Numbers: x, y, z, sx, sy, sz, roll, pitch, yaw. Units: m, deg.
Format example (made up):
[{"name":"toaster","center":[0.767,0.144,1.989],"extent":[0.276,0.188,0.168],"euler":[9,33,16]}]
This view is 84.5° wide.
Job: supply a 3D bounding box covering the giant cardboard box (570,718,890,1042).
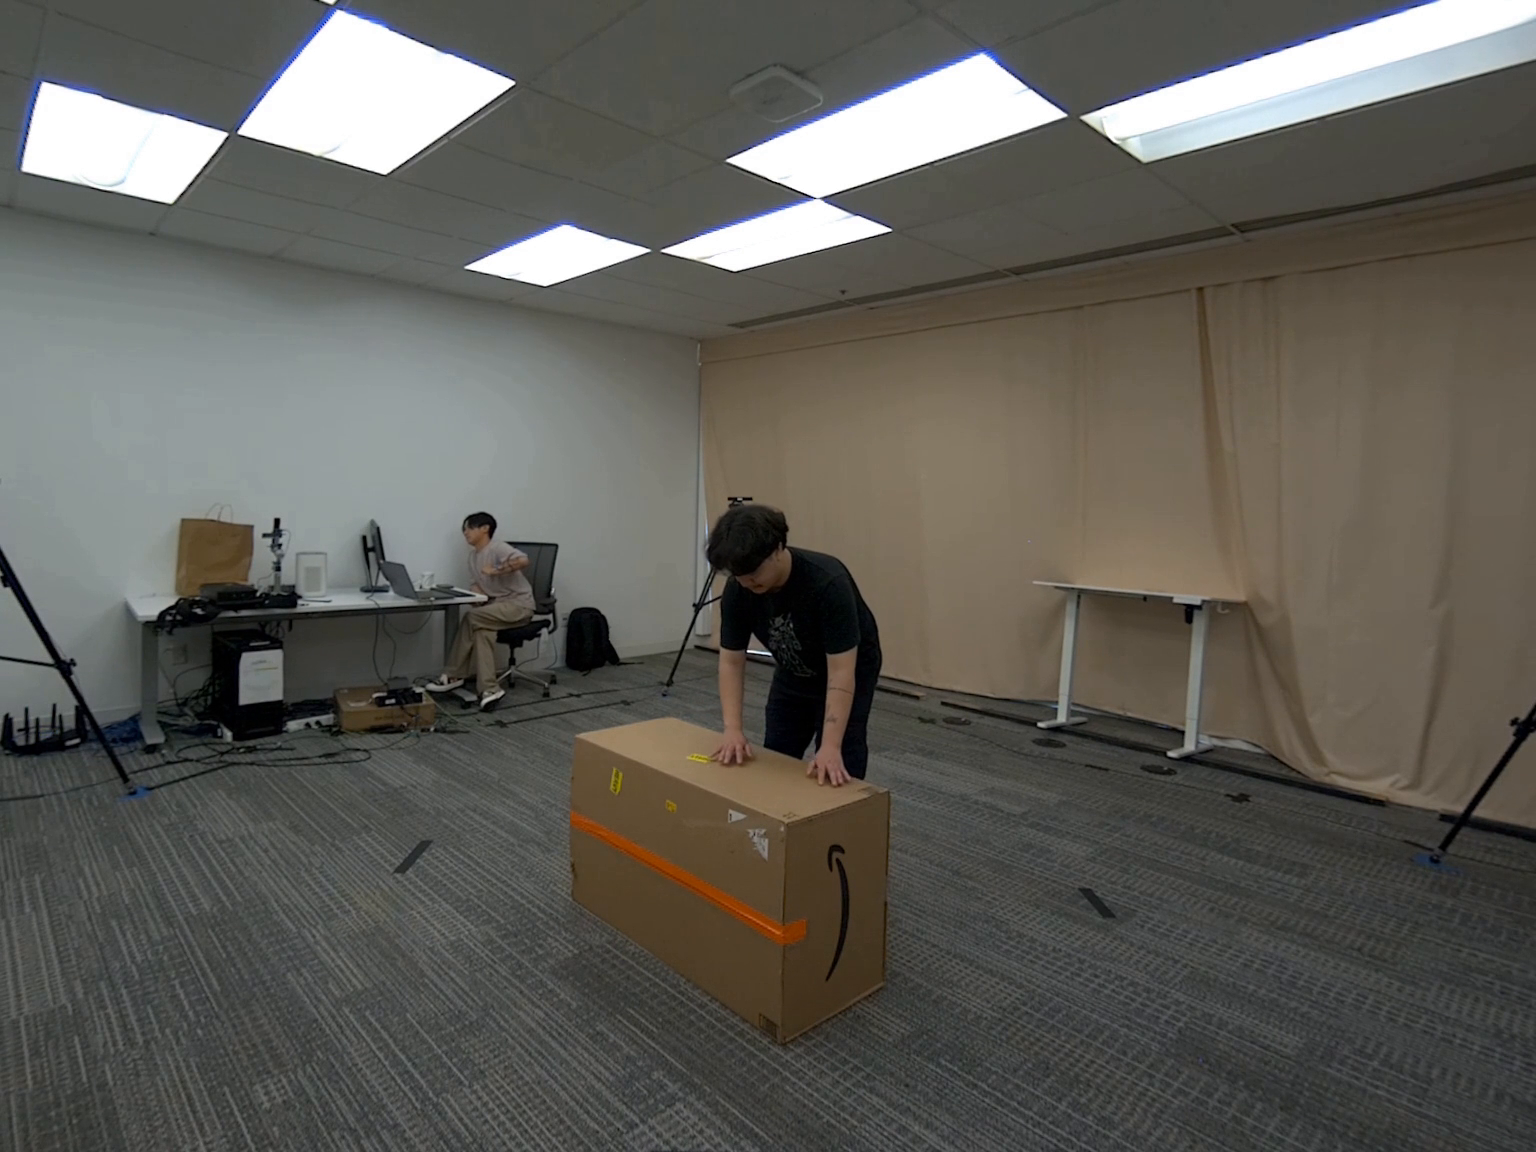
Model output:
[{"name":"giant cardboard box","center":[-0.172,0.865,2.640],"extent":[0.437,0.582,1.053],"euler":[-3,6,-43]}]
